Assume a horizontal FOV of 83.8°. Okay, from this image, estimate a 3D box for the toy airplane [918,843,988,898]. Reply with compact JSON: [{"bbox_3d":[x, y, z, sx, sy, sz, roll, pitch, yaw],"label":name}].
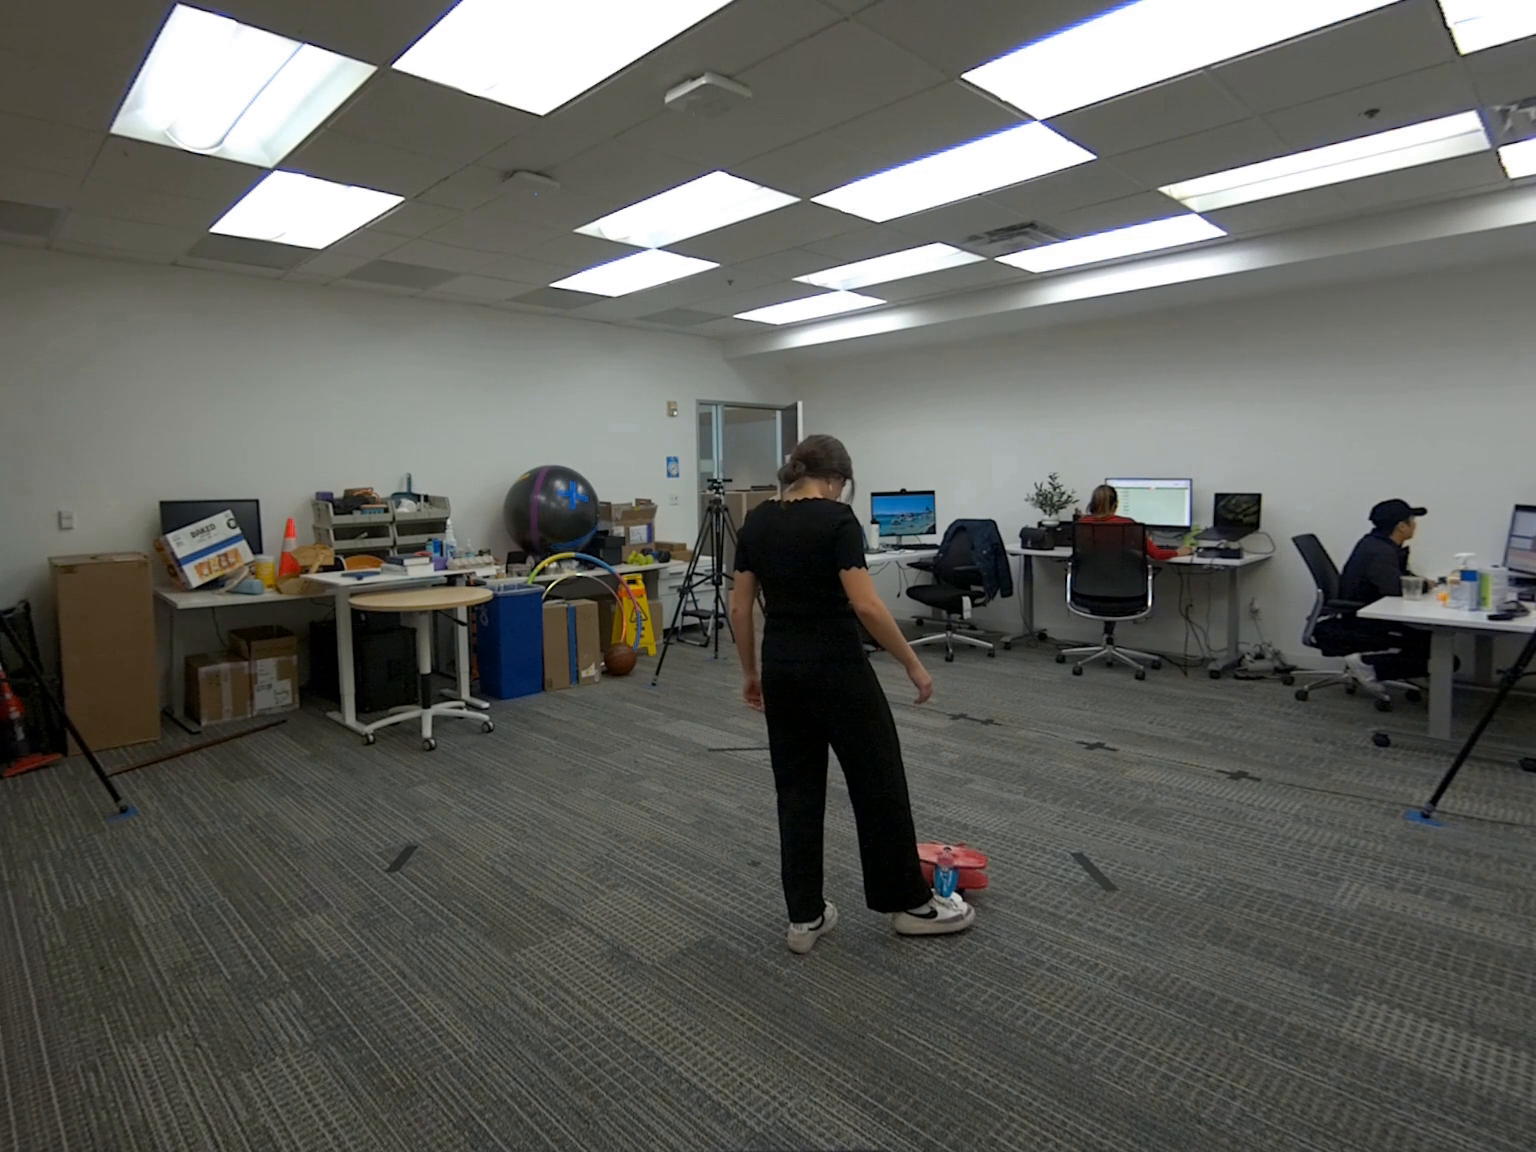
[{"bbox_3d":[0.608,0.994,2.806,0.249,0.156,0.262,-1,4,-10],"label":"toy airplane"}]
